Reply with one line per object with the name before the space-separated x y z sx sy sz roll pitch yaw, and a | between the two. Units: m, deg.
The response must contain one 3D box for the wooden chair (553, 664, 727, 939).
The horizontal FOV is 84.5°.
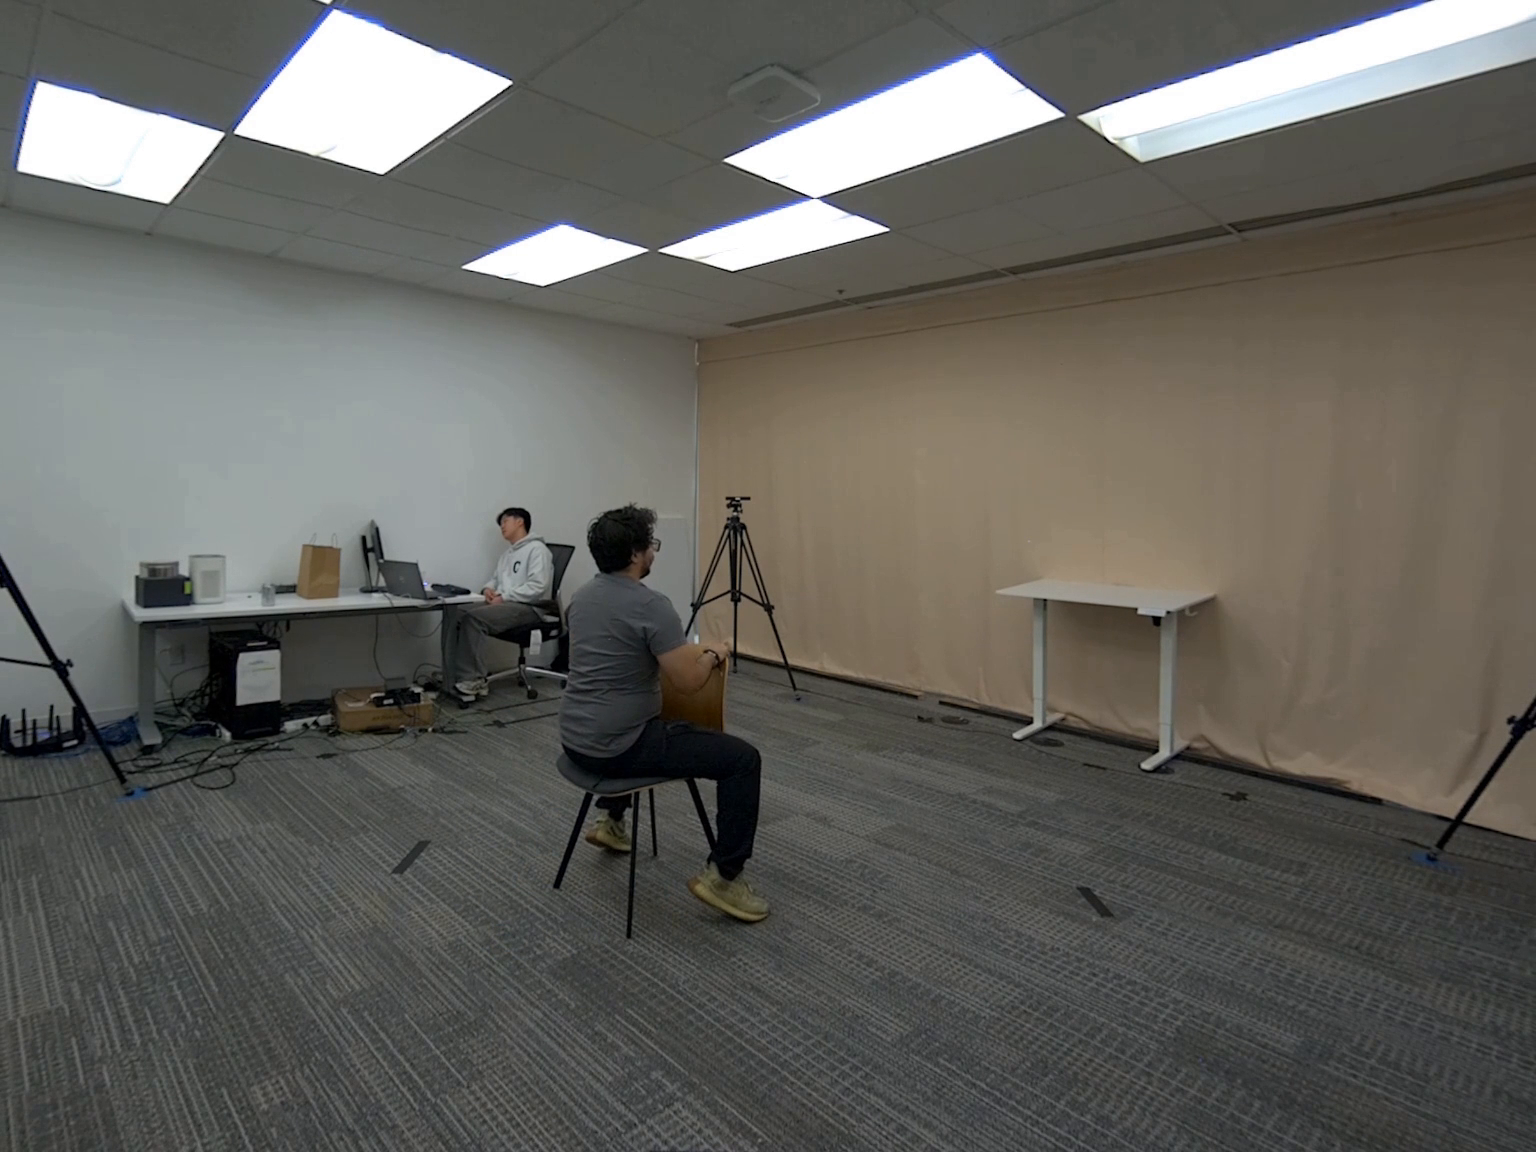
wooden chair | -0.440 0.692 2.925 0.510 0.877 0.490 4 1 -44
